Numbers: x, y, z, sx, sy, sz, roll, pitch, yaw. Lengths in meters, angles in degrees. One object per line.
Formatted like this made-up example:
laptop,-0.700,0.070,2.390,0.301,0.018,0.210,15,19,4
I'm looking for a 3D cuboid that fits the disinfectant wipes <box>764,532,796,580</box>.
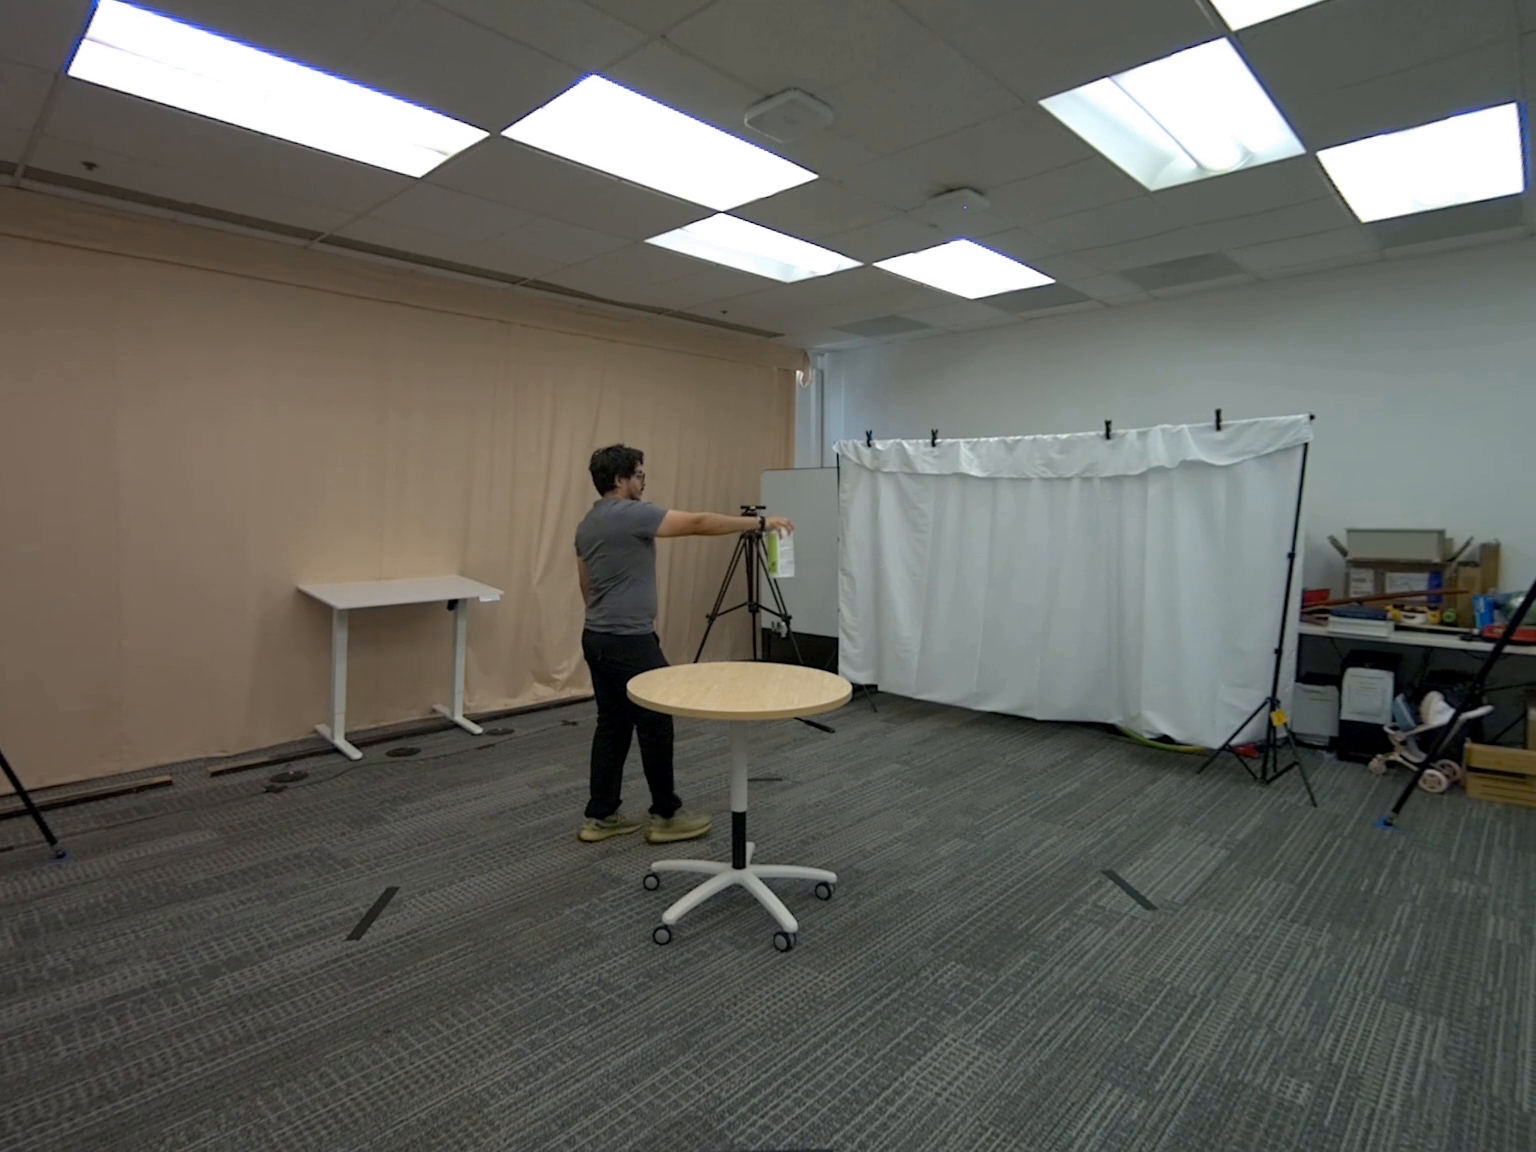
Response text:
disinfectant wipes,0.059,-0.096,3.537,0.118,0.217,0.118,-1,2,-2
